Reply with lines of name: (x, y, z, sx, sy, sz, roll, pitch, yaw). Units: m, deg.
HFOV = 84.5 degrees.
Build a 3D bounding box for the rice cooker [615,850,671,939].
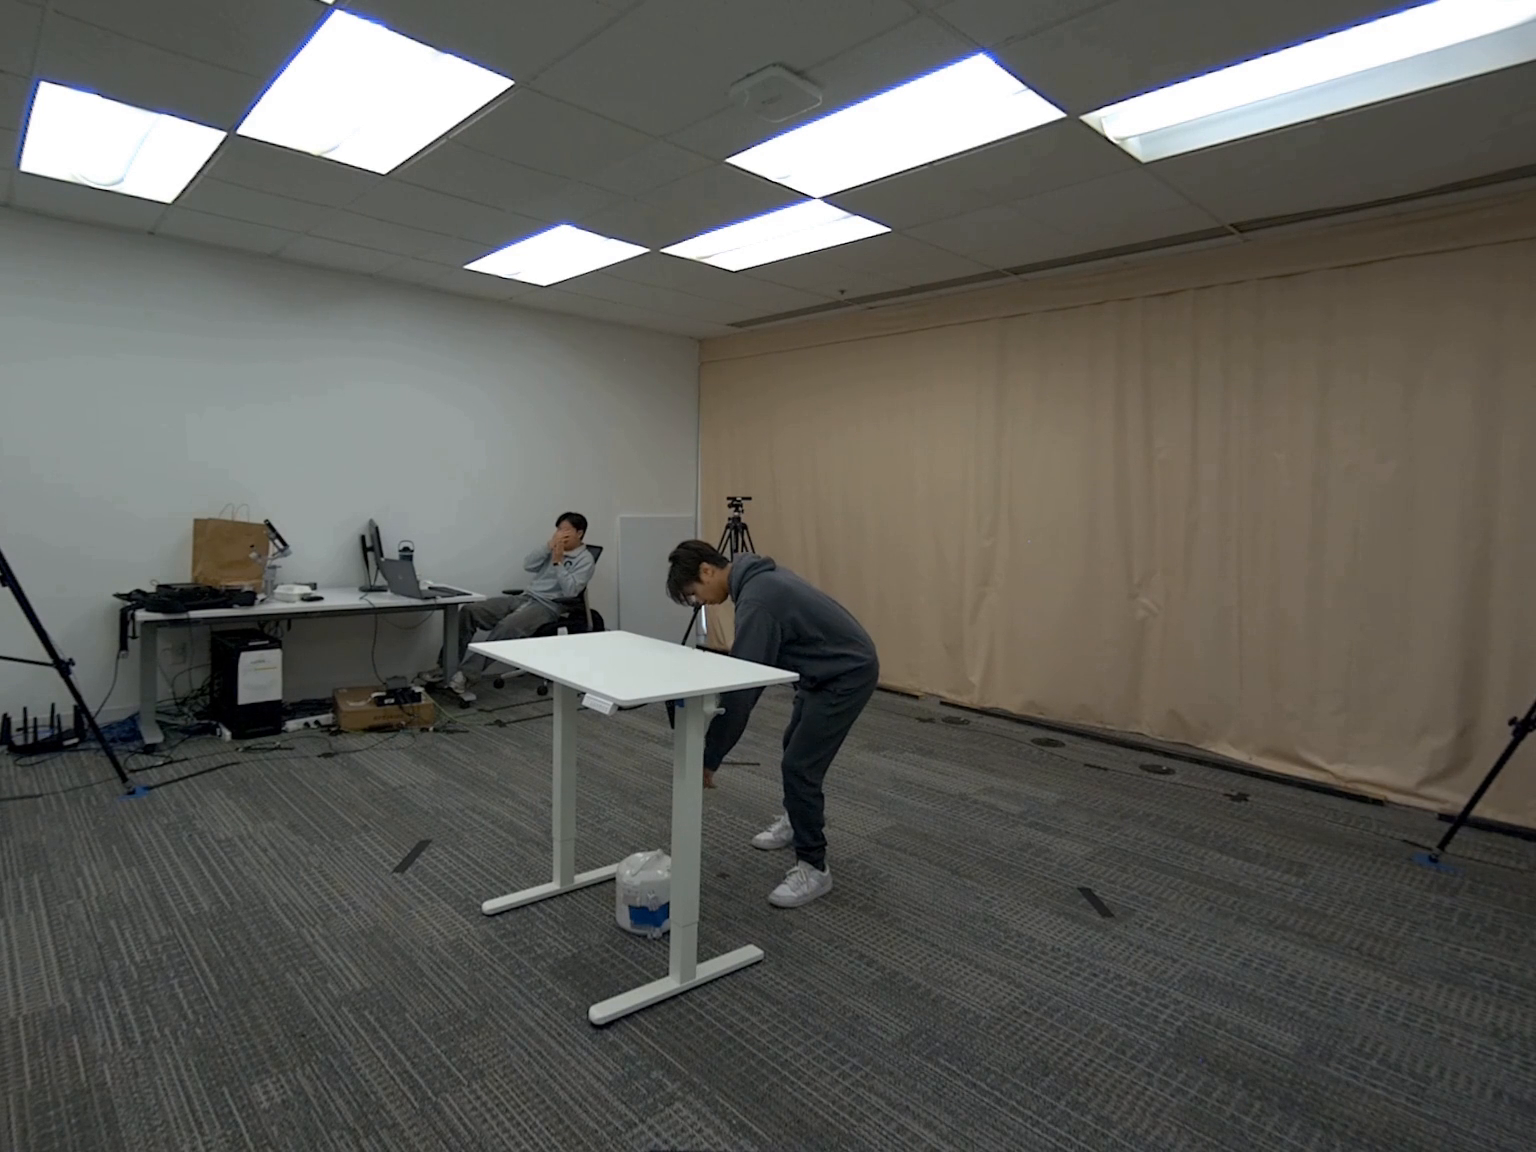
rice cooker: (-0.396, 1.016, 2.733, 0.222, 0.232, 0.216, 4, 5, 28)
